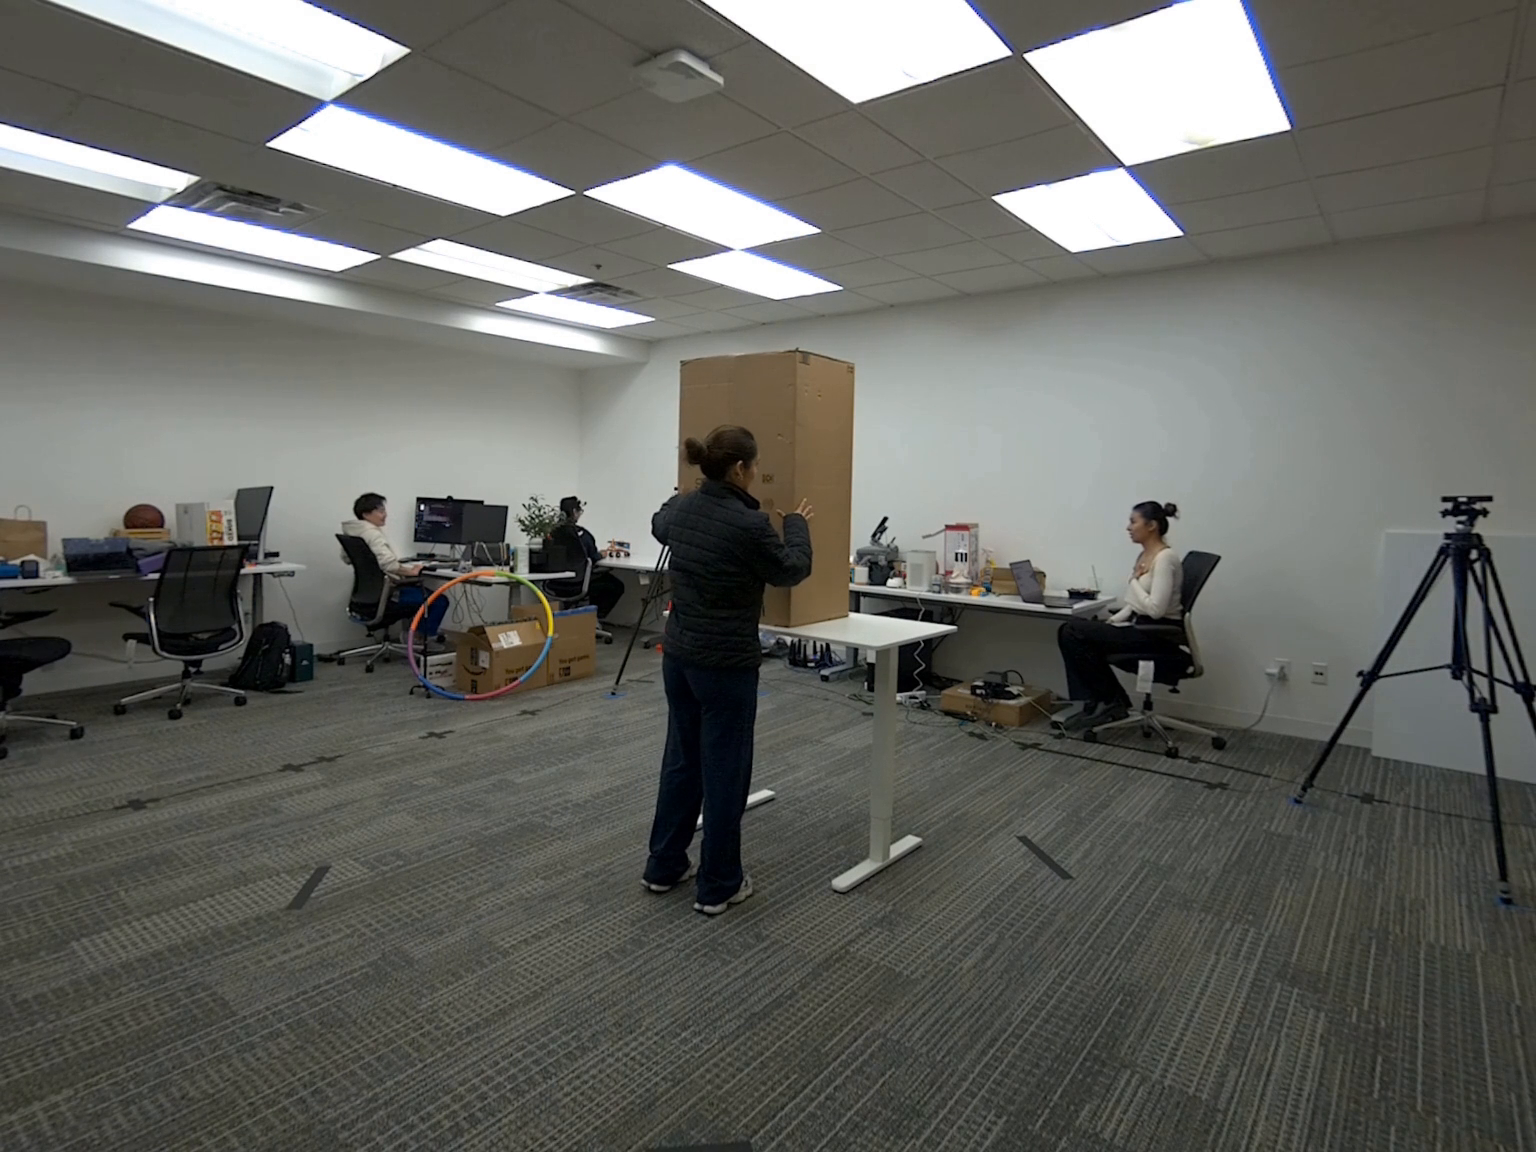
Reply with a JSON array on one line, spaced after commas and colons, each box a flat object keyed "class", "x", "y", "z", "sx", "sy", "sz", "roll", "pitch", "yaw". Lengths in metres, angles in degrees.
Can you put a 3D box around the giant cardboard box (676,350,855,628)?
[{"class": "giant cardboard box", "x": 0.003, "y": -0.357, "z": 3.456, "sx": 0.597, "sy": 1.023, "sz": 0.413, "roll": 4, "pitch": 4, "yaw": 38}]
